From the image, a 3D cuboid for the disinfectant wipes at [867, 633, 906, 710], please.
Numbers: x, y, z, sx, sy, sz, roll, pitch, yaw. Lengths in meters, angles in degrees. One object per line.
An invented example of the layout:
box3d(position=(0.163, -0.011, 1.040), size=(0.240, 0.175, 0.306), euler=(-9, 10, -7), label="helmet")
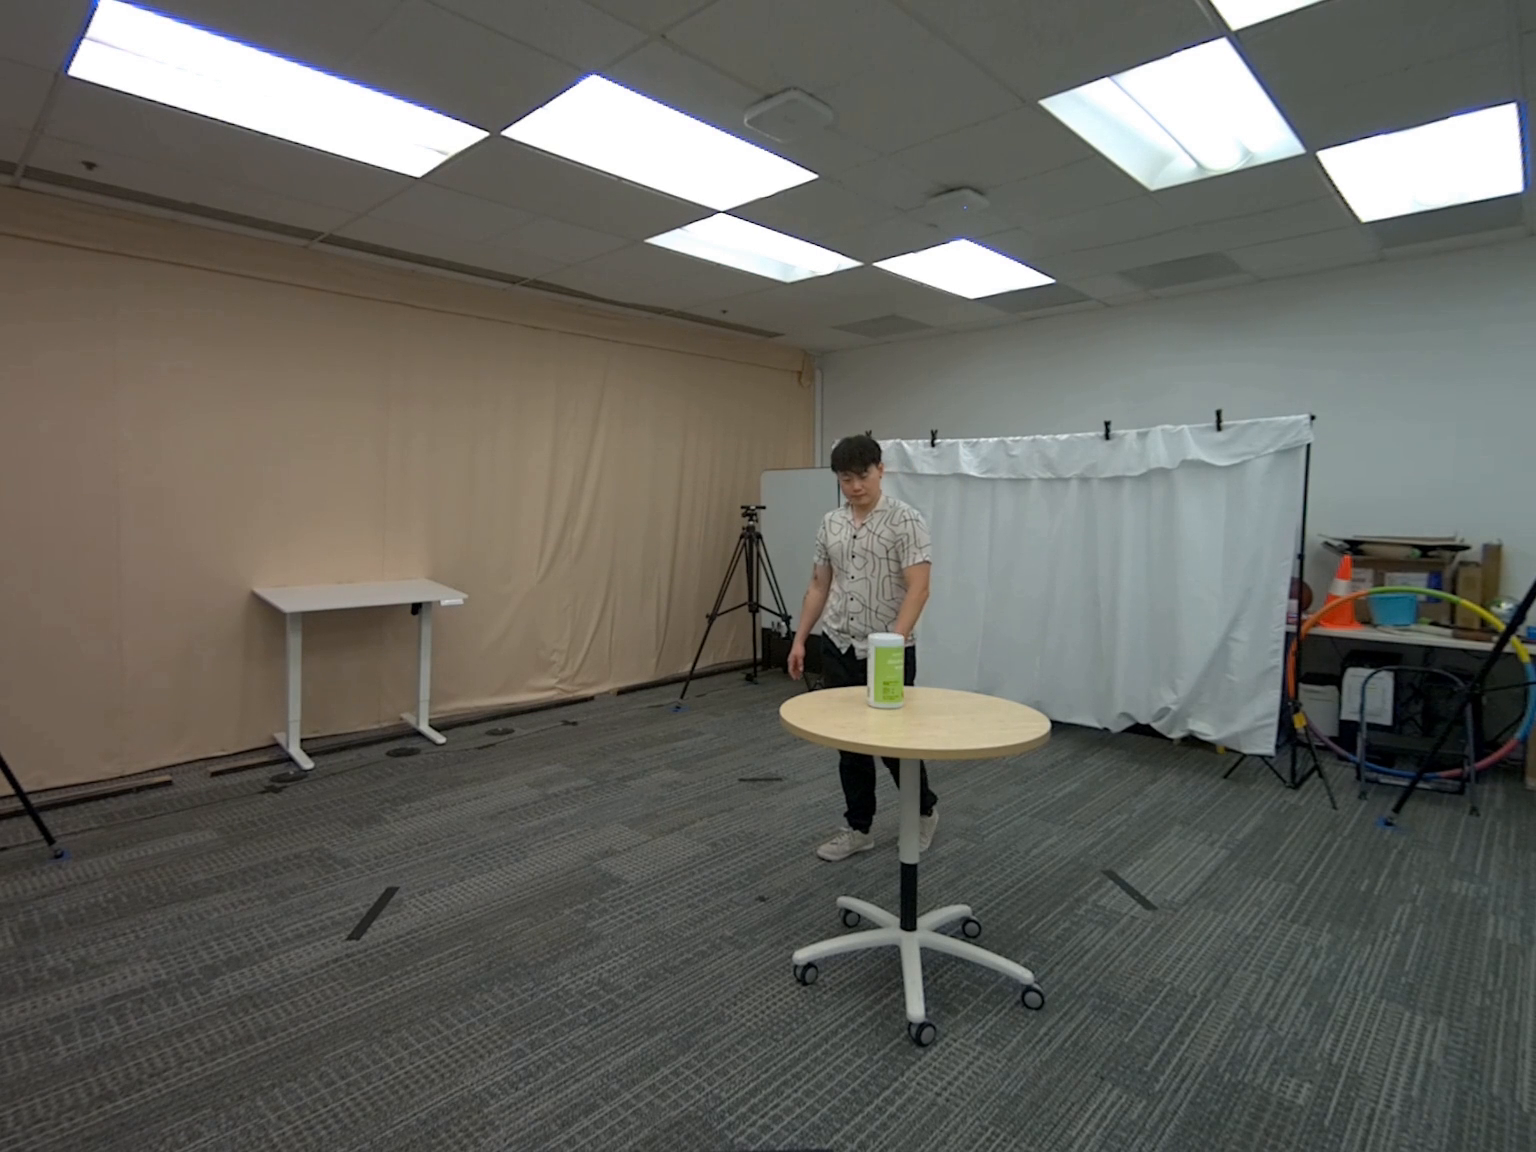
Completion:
box3d(position=(0.355, 0.288, 2.556), size=(0.118, 0.217, 0.118), euler=(0, 4, -2), label="disinfectant wipes")
